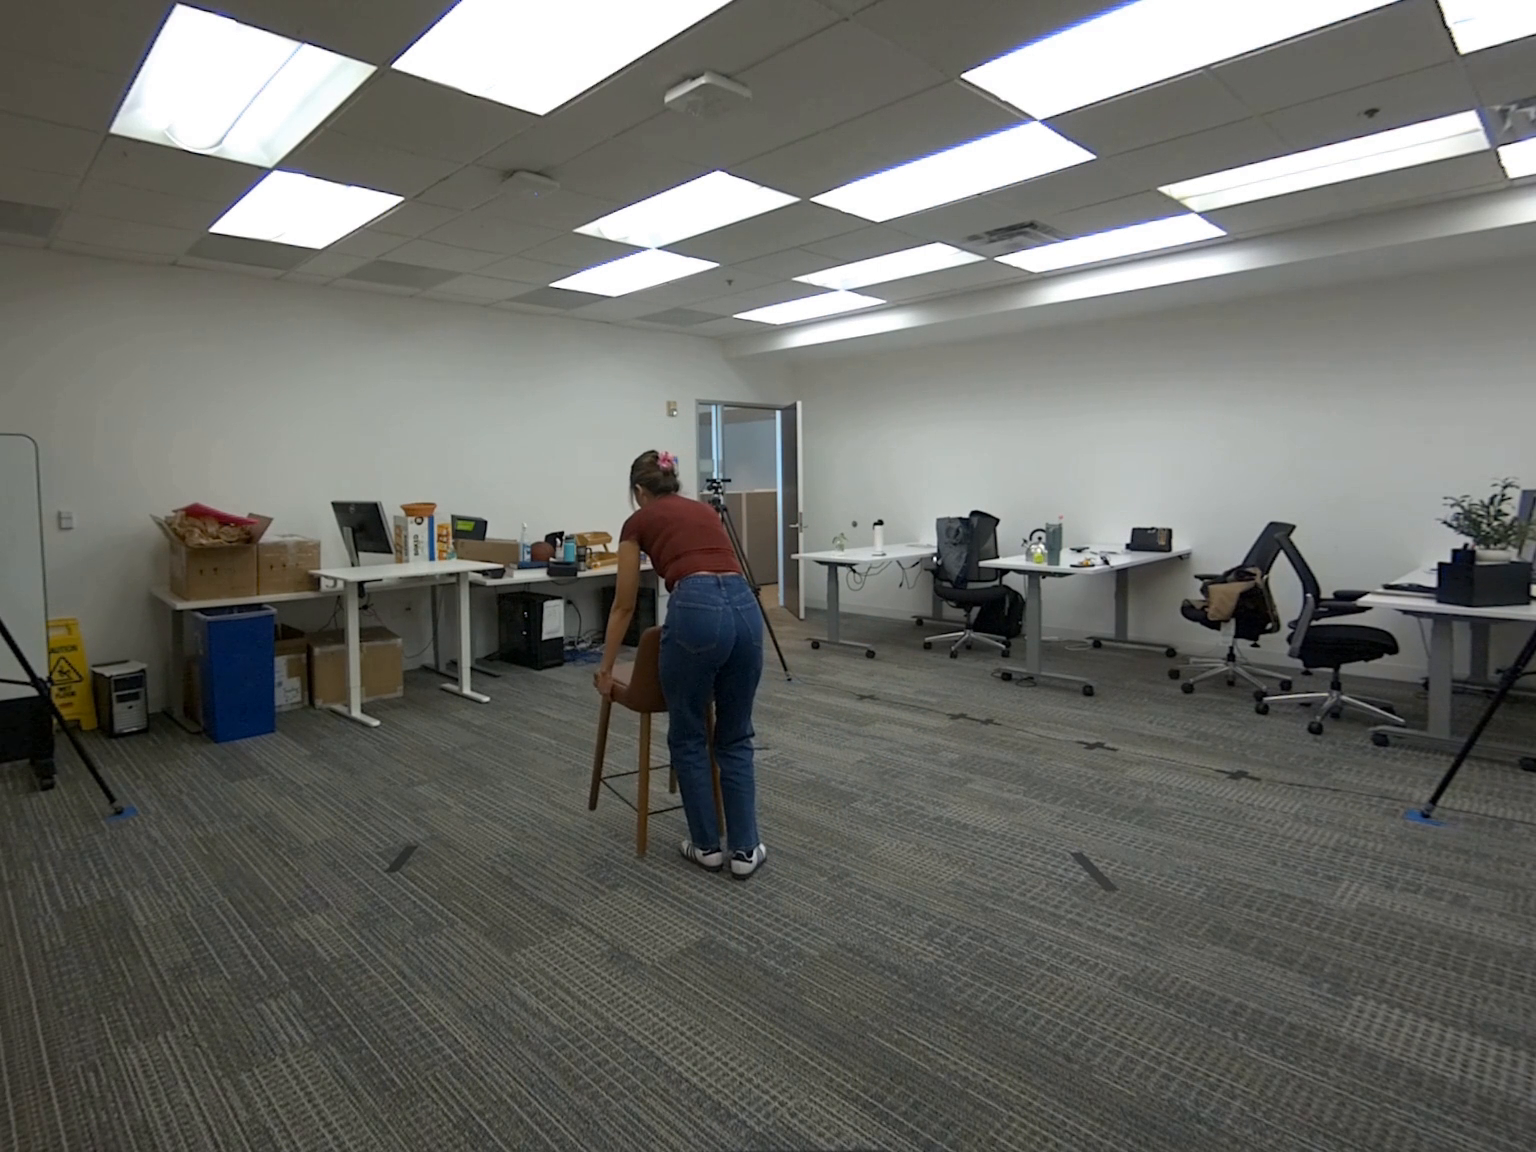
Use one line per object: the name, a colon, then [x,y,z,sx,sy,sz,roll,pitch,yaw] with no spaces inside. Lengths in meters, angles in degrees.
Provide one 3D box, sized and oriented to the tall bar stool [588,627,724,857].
tall bar stool: [-0.427,0.564,3.382,0.445,0.883,0.483,-2,11,-34]
